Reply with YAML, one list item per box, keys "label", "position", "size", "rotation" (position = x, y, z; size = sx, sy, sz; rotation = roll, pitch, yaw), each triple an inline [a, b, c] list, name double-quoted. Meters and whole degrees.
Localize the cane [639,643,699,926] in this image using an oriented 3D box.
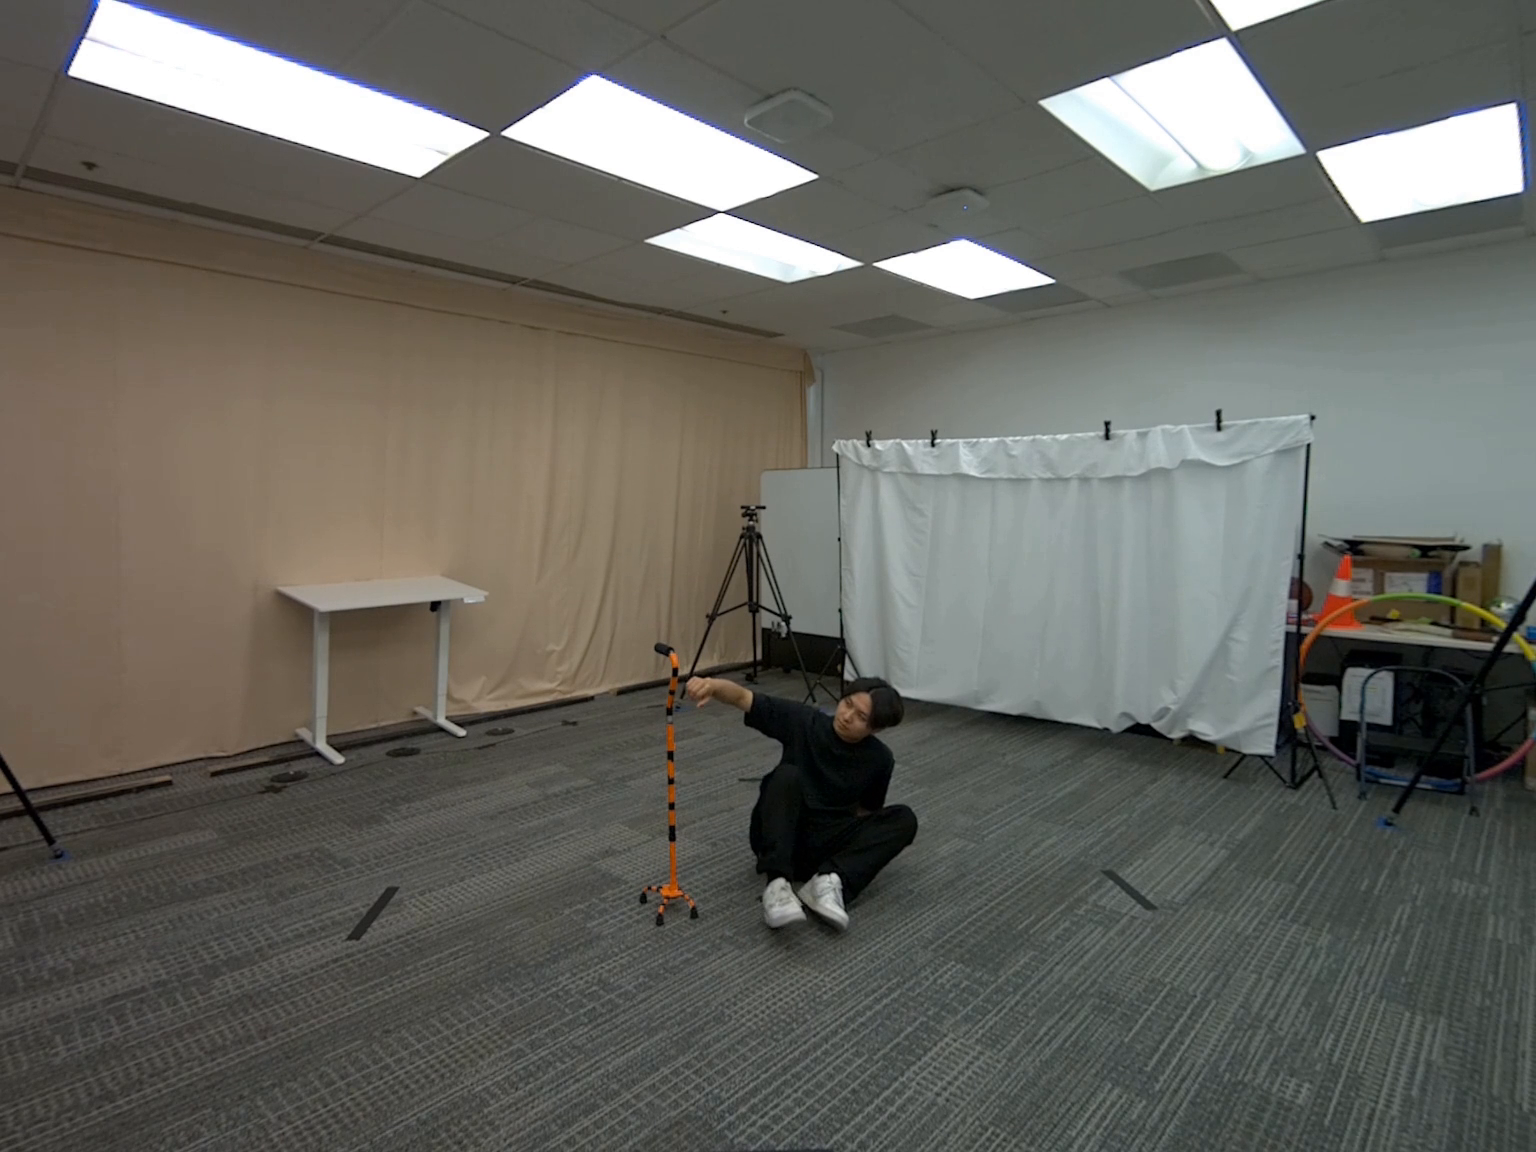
- label: "cane"
  position: [-0.339, 0.700, 2.887]
  size: [0.148, 0.906, 0.212]
  rotation: [-1, 3, -26]
